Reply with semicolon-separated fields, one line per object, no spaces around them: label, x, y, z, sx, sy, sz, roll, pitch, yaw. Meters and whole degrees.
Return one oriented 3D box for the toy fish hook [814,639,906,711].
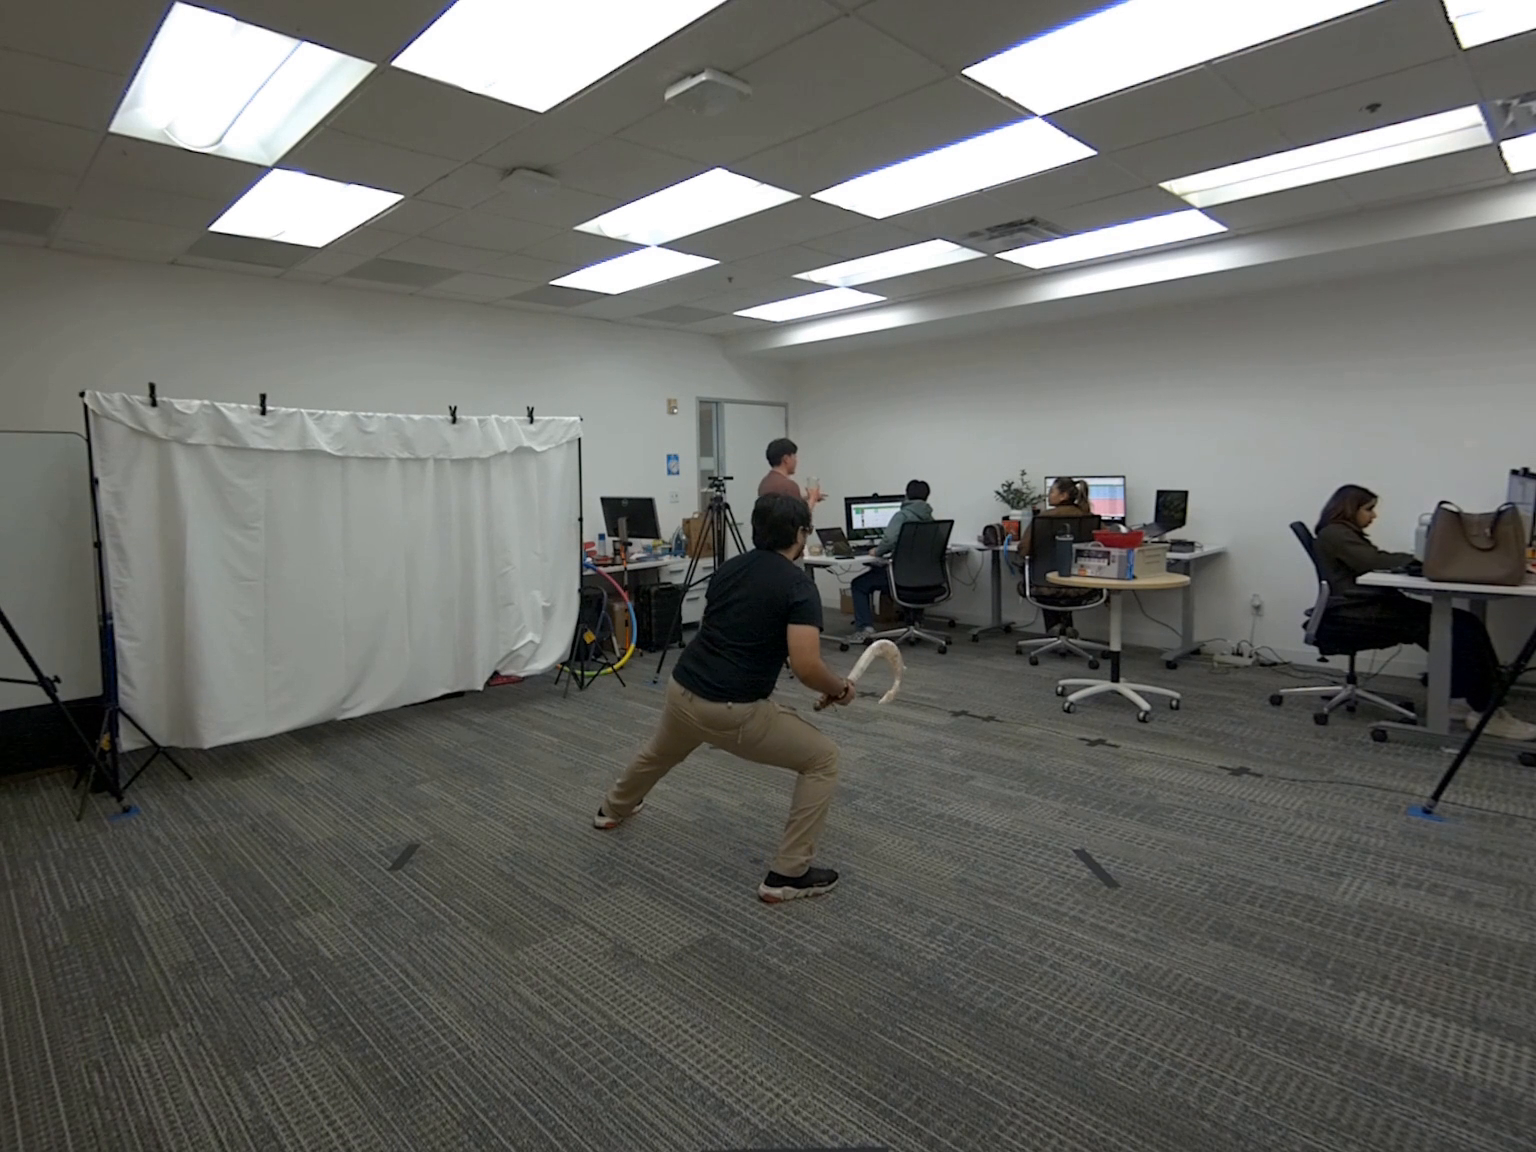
toy fish hook;0.341;0.404;3.129;0.500;0.223;0.049;-30;5;-39
